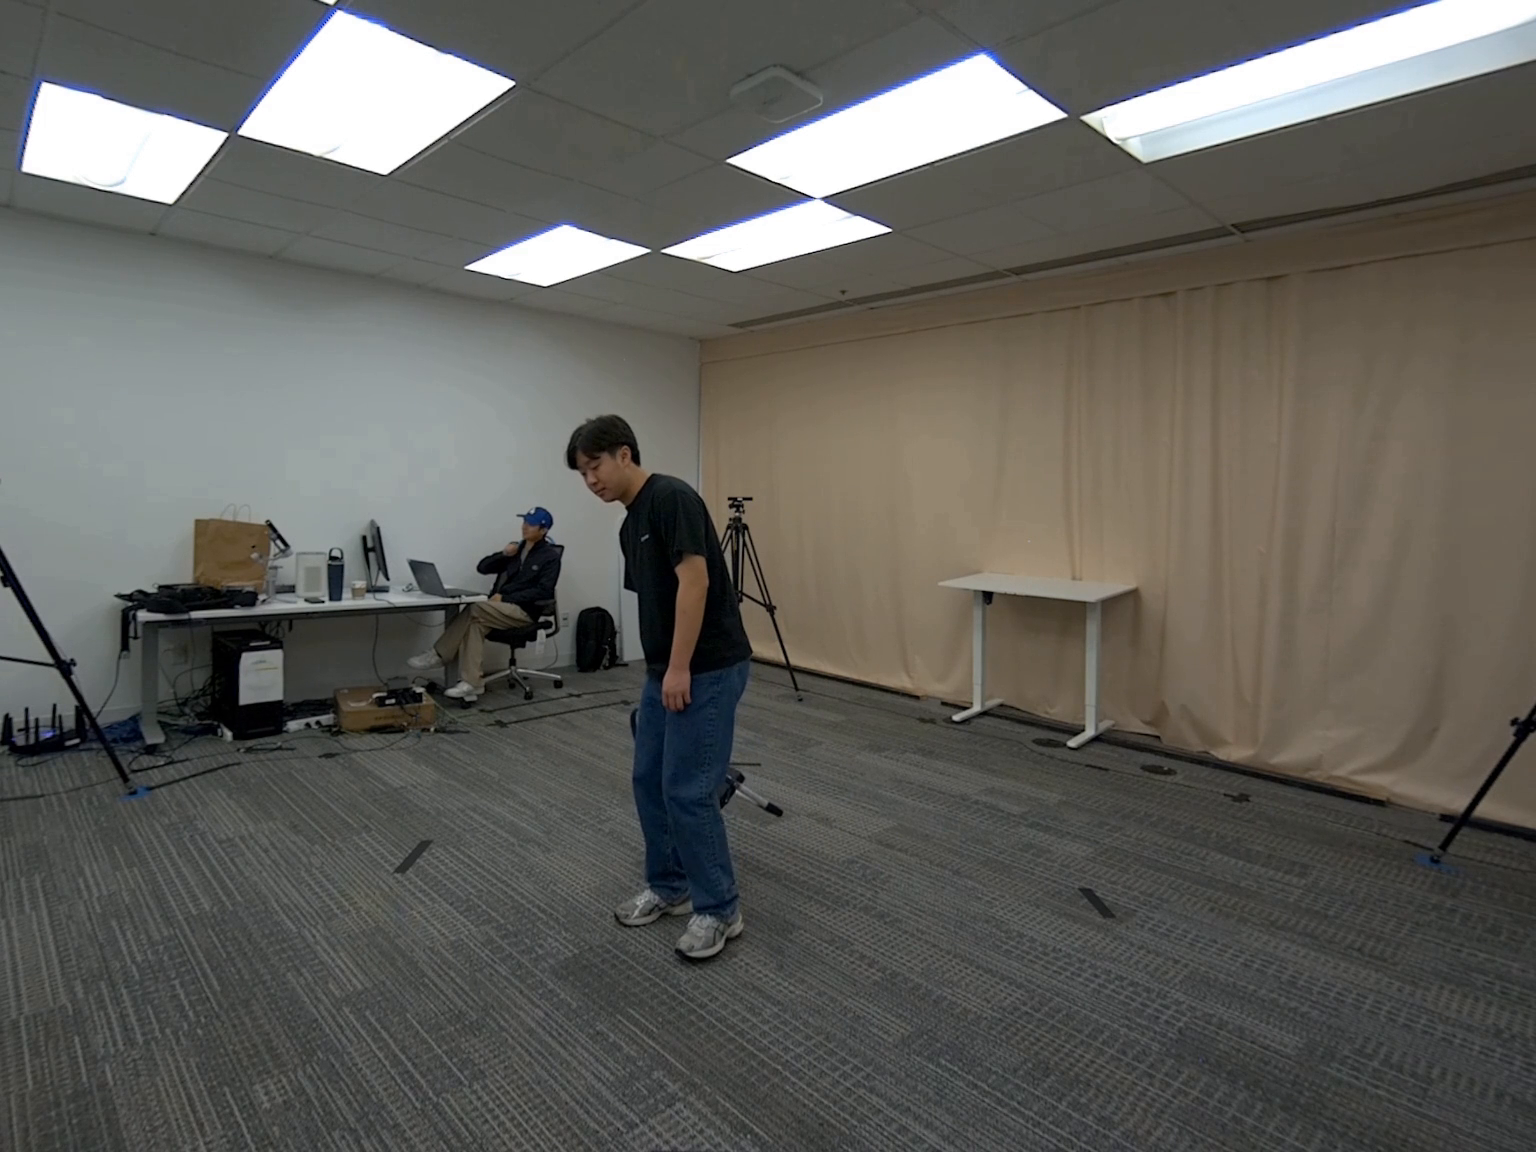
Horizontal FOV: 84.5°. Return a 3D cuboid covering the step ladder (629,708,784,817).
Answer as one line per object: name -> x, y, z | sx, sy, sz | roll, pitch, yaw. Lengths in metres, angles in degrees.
step ladder -> -0.313, 0.760, 3.091 | 0.441, 0.591, 0.349 | 6, 46, 50
